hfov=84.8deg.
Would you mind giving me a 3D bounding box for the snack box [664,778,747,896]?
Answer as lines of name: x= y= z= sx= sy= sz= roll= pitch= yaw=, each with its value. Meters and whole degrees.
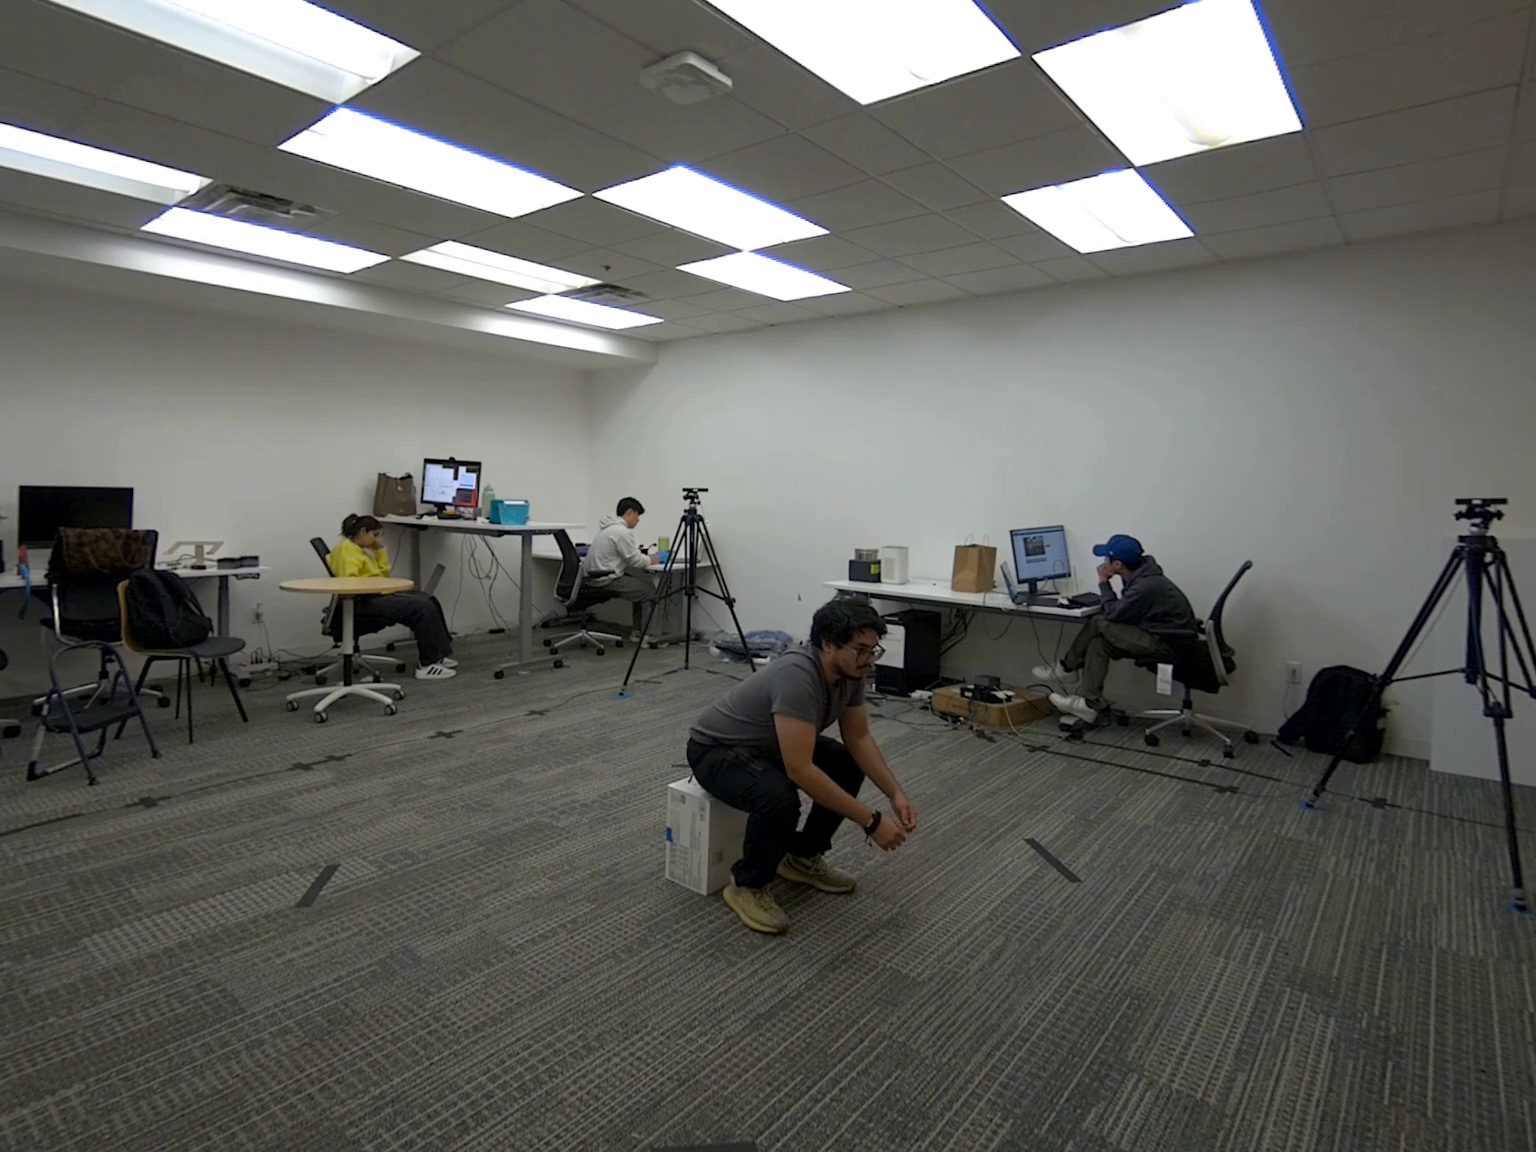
snack box: x=-0.170 y=0.901 z=3.105 sx=0.212 sy=0.339 sz=0.393 roll=5 pitch=6 yaw=38
